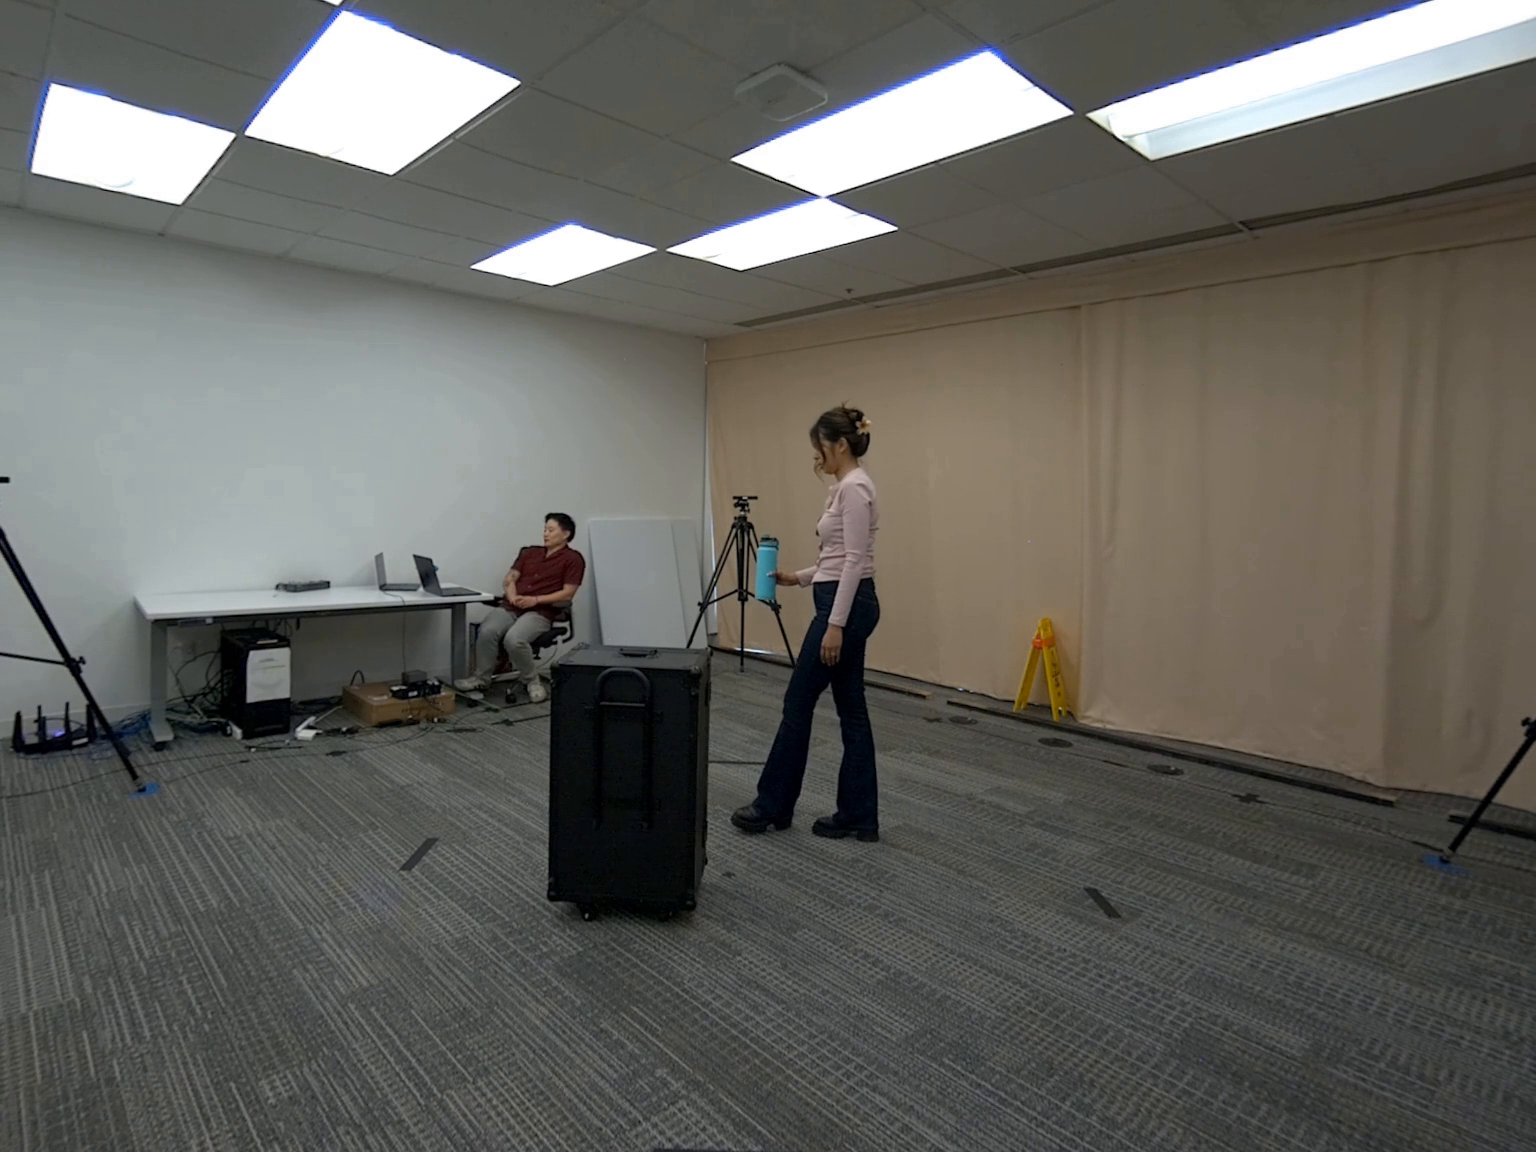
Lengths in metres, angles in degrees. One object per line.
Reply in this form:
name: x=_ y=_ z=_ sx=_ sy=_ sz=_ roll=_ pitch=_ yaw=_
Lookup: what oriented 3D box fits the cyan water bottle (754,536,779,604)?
cyan water bottle: x=-0.011 y=-0.042 z=3.677 sx=0.092 sy=0.284 sz=0.092 roll=5 pitch=-3 yaw=-1
